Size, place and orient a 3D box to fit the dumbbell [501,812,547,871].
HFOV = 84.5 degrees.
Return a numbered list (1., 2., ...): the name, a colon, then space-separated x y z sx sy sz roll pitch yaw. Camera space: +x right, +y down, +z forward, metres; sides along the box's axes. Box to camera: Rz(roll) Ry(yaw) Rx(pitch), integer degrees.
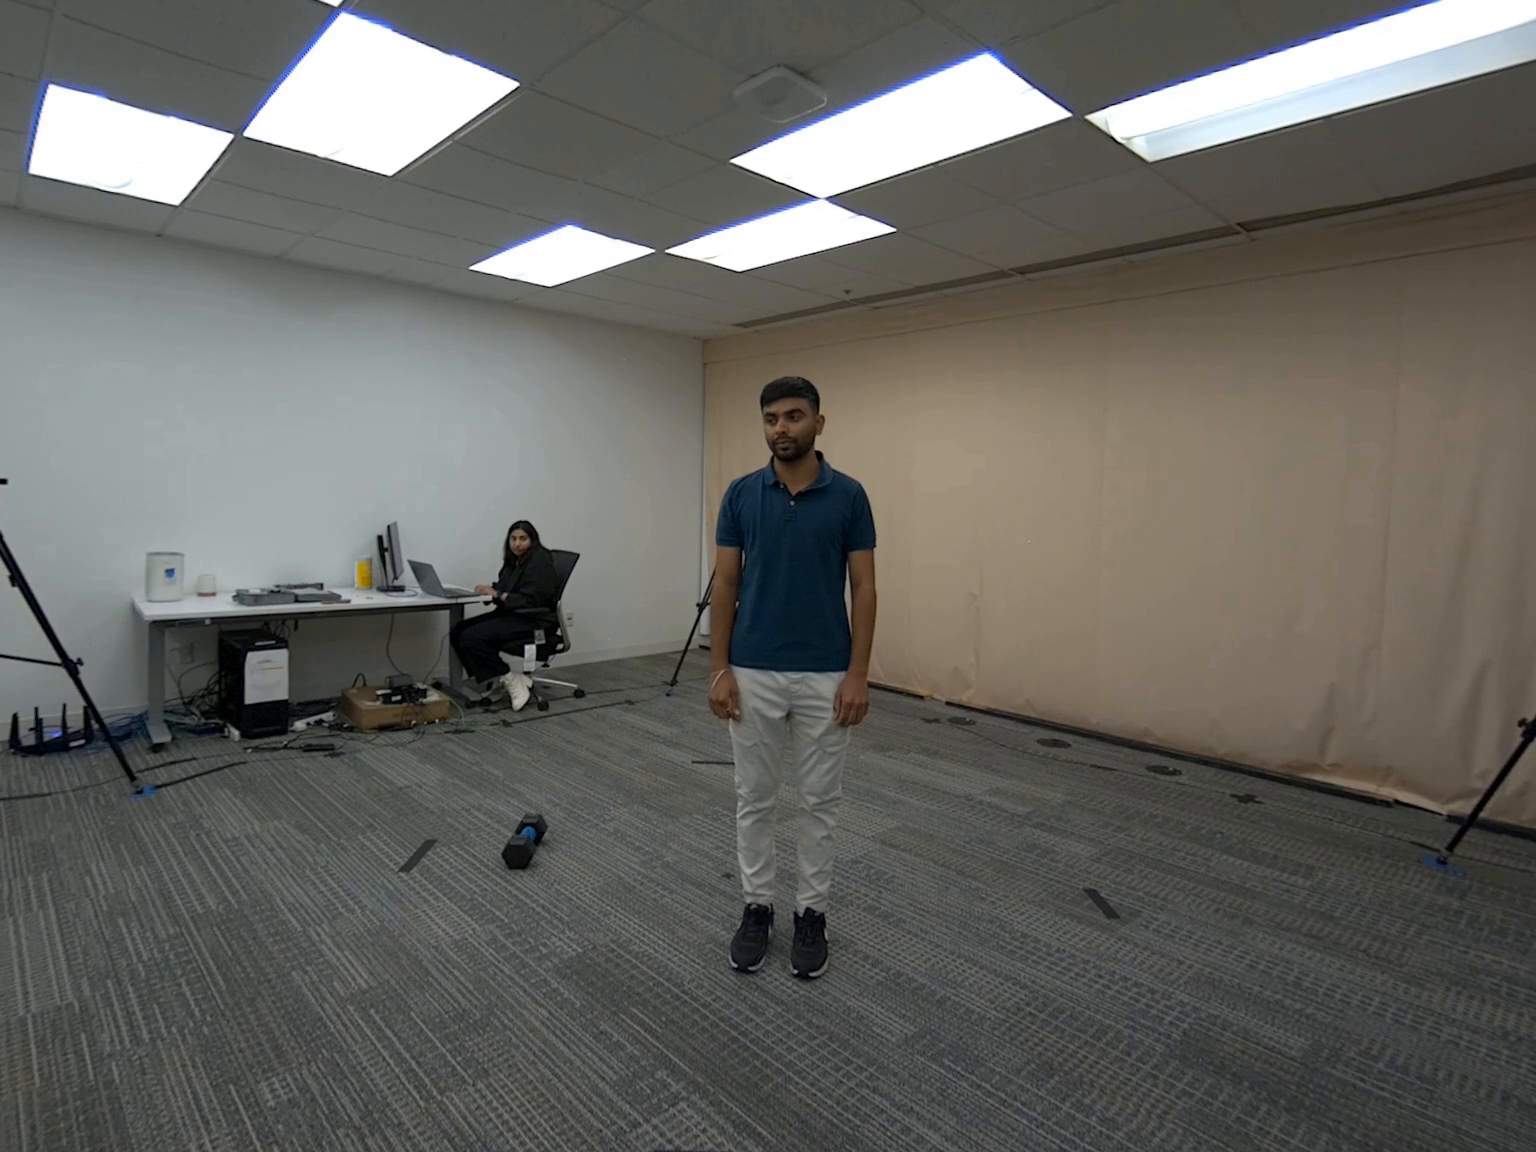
1. dumbbell: -0.945 1.021 3.252 0.108 0.123 0.295 34 3 -5
